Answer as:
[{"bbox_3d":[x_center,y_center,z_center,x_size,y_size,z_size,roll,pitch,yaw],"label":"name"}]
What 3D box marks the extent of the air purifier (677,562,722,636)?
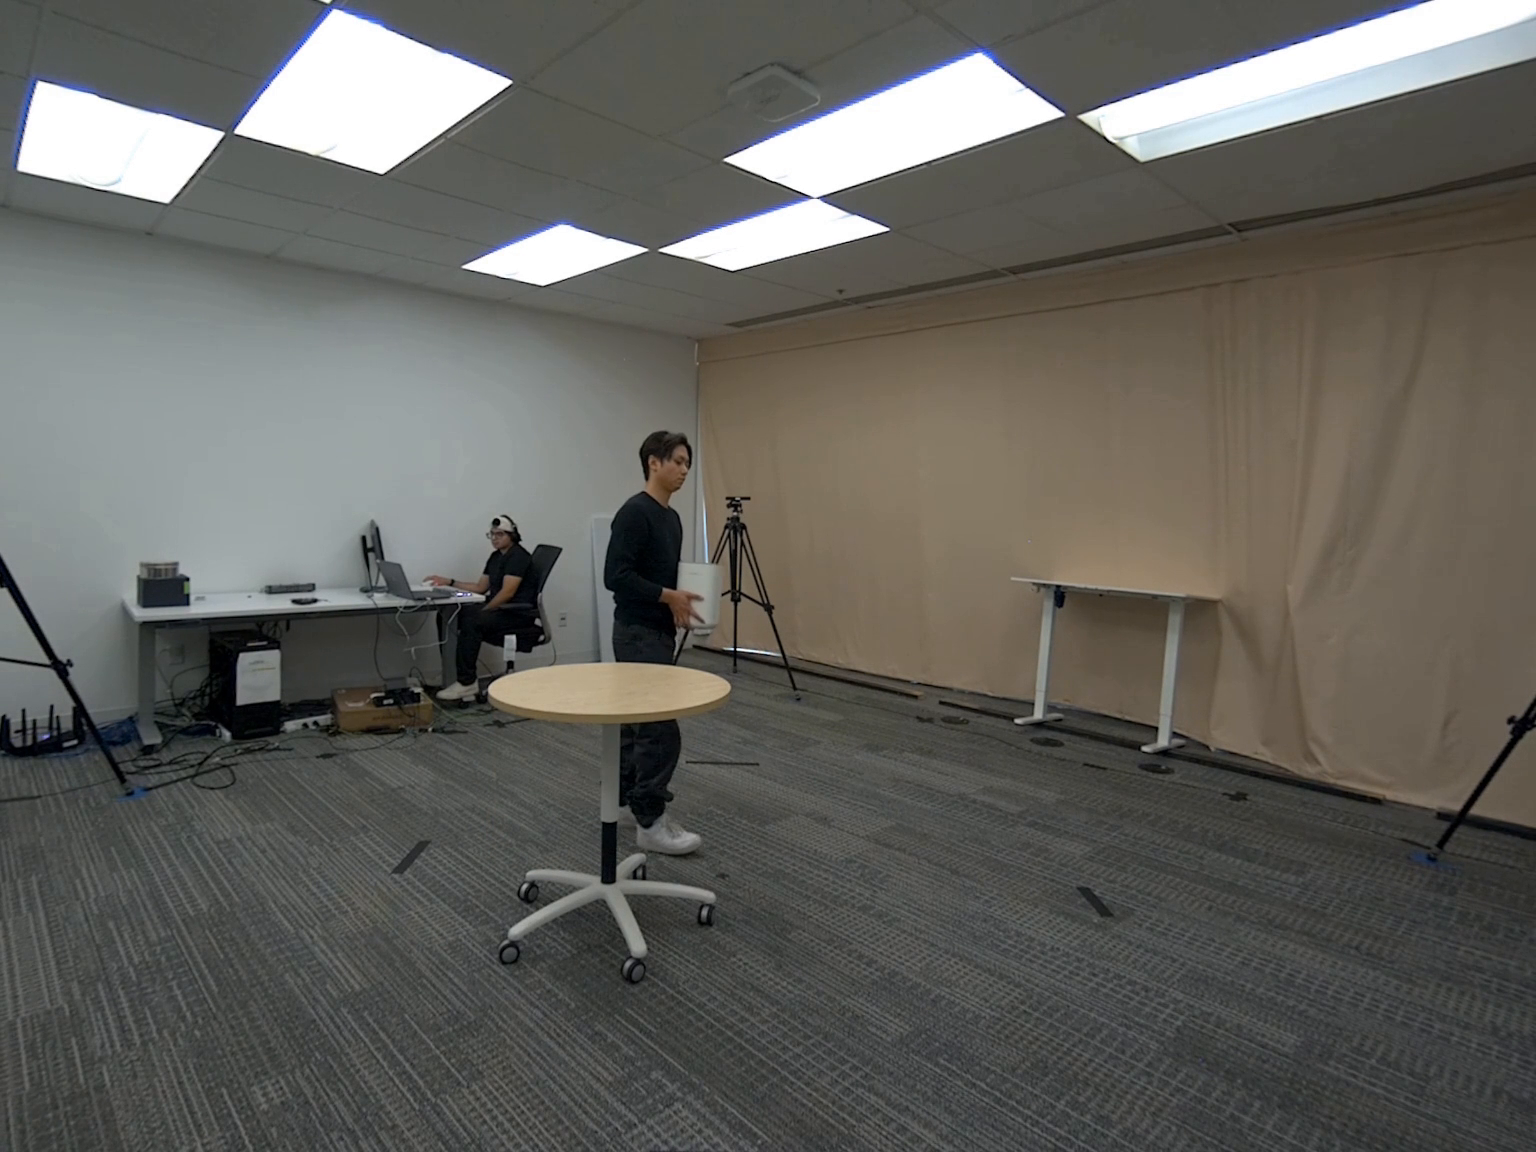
[{"bbox_3d":[-0.294,0.076,3.439,0.173,0.266,0.169,2,-2,13],"label":"air purifier"}]
